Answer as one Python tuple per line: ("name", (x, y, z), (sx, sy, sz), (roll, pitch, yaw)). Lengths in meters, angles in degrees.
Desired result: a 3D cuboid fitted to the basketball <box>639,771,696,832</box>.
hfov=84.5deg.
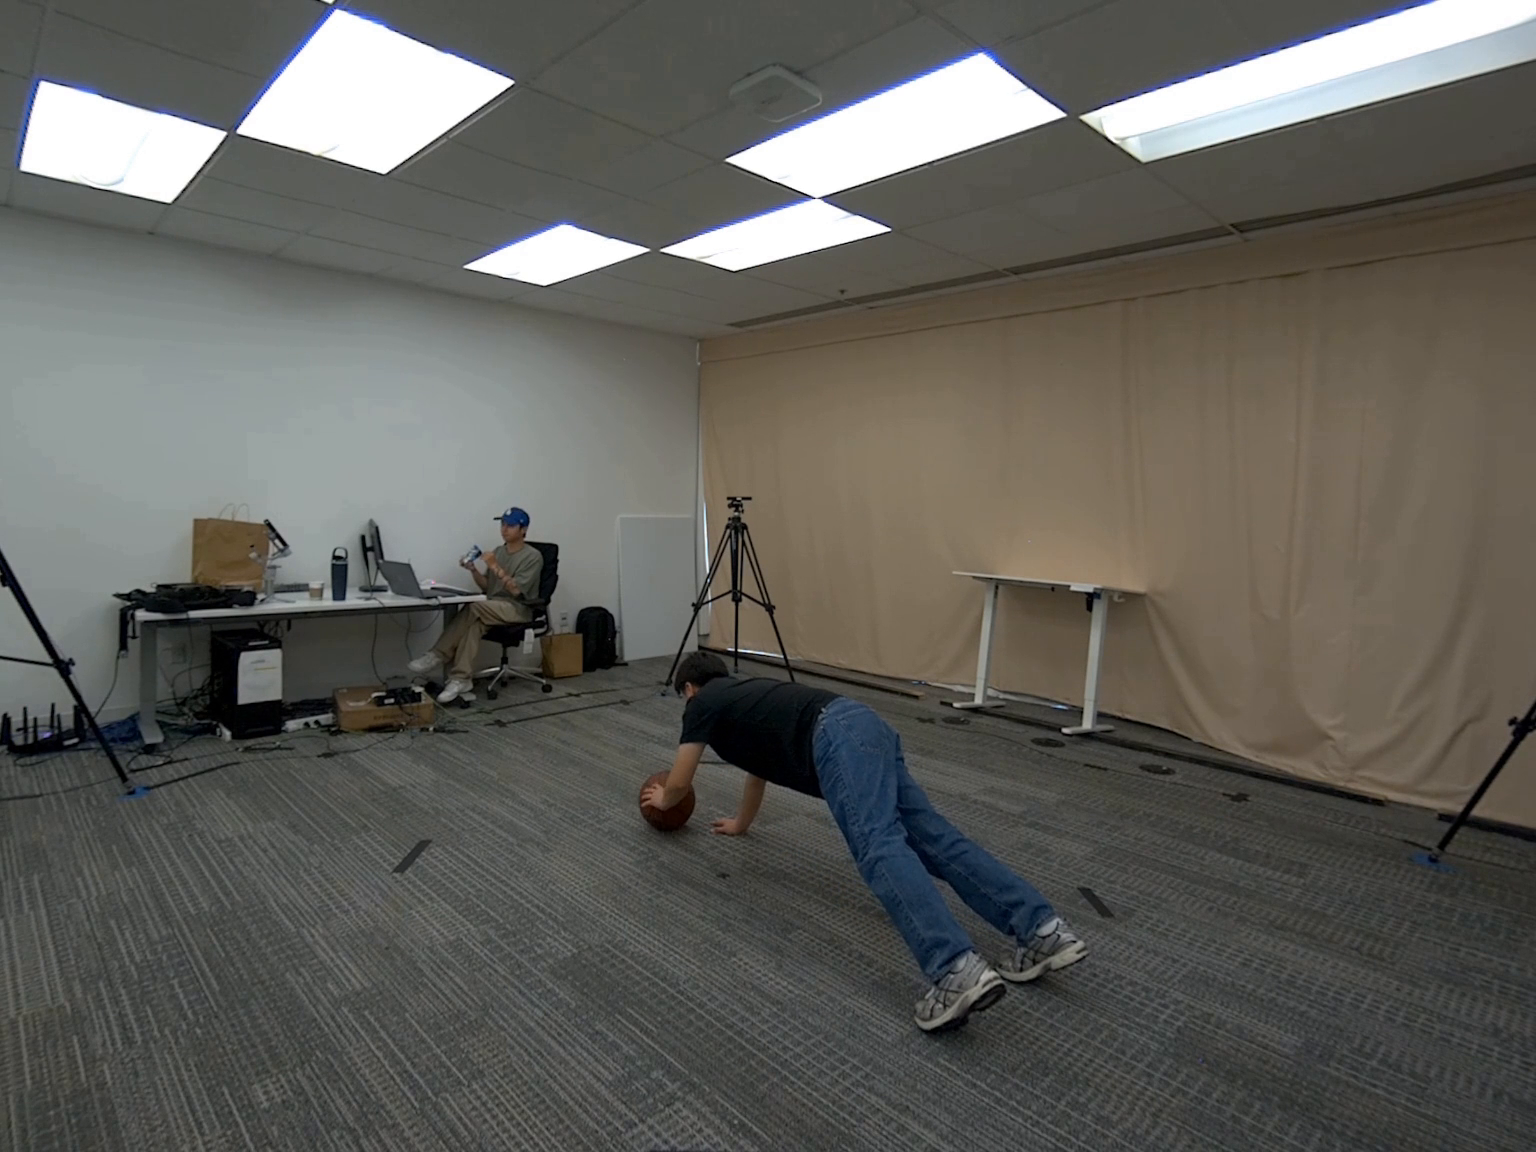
("basketball", (-0.436, 0.942, 3.541), (0.236, 0.235, 0.237), (1, 4, -1))
